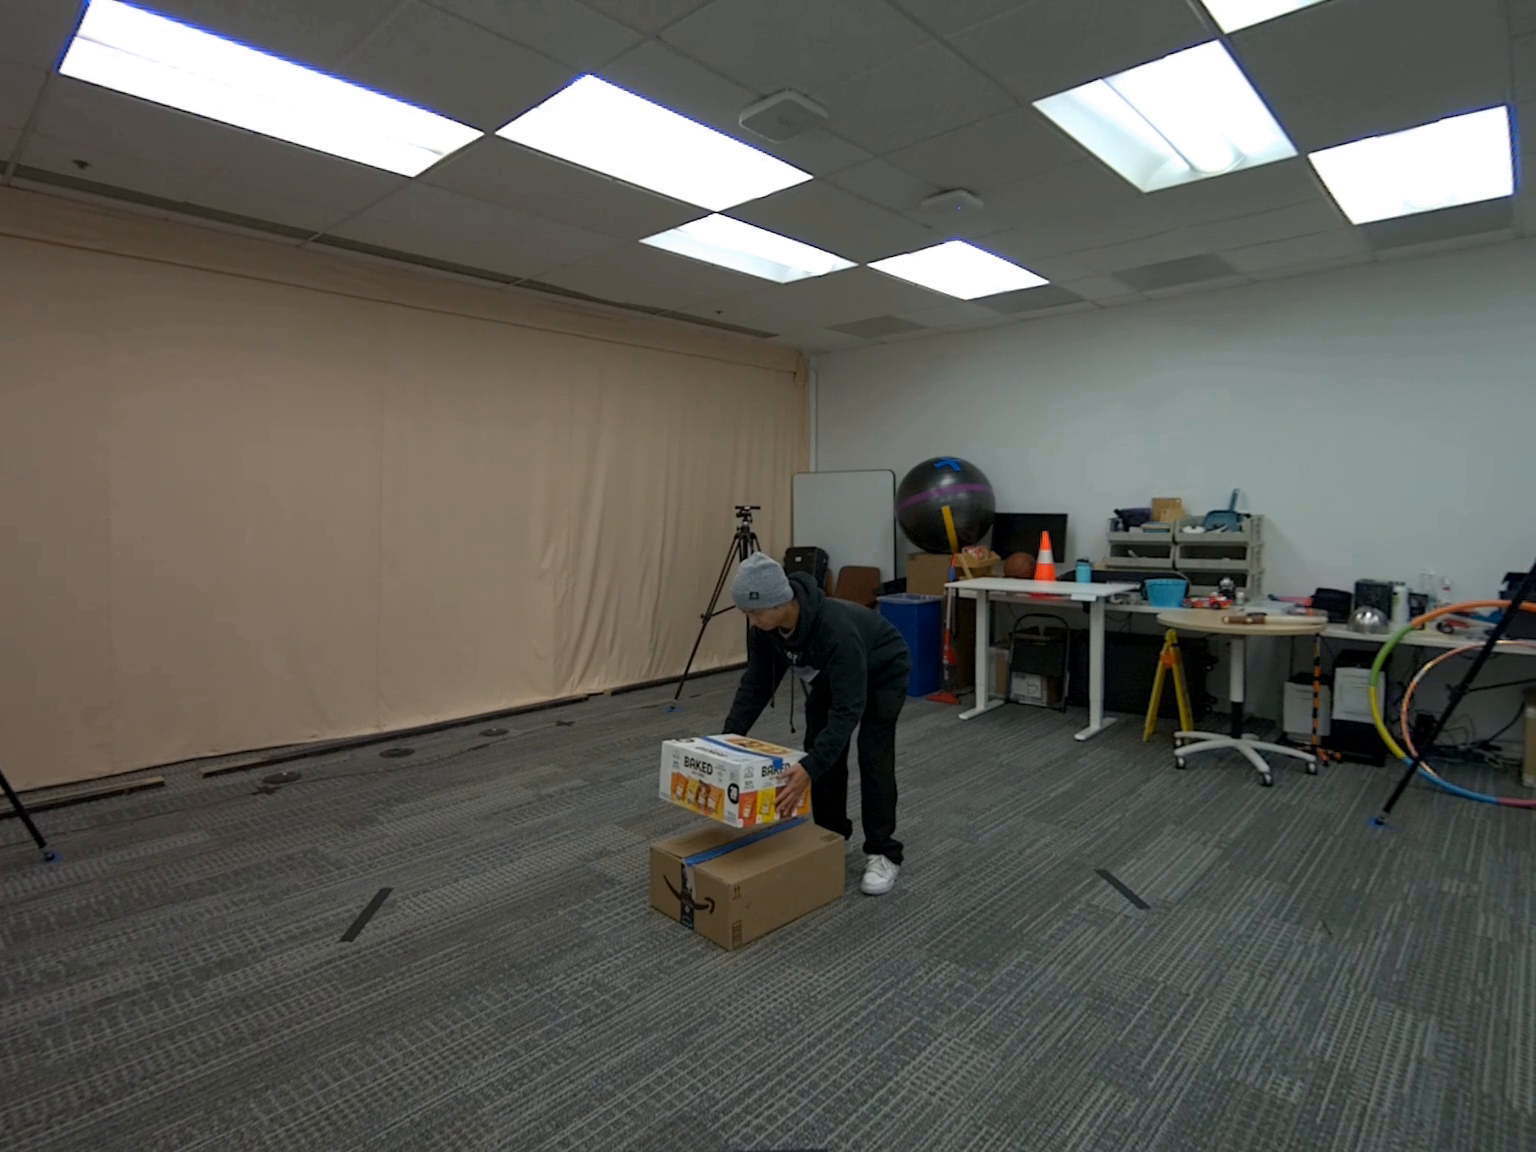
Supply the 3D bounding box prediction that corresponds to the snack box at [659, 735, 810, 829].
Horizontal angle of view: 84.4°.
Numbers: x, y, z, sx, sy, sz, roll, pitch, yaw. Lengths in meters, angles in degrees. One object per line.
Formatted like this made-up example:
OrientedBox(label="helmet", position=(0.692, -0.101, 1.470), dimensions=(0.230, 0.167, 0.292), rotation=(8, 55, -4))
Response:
OrientedBox(label="snack box", position=(-0.114, 0.699, 2.923), dimensions=(0.329, 0.206, 0.418), rotation=(4, -1, -43))
